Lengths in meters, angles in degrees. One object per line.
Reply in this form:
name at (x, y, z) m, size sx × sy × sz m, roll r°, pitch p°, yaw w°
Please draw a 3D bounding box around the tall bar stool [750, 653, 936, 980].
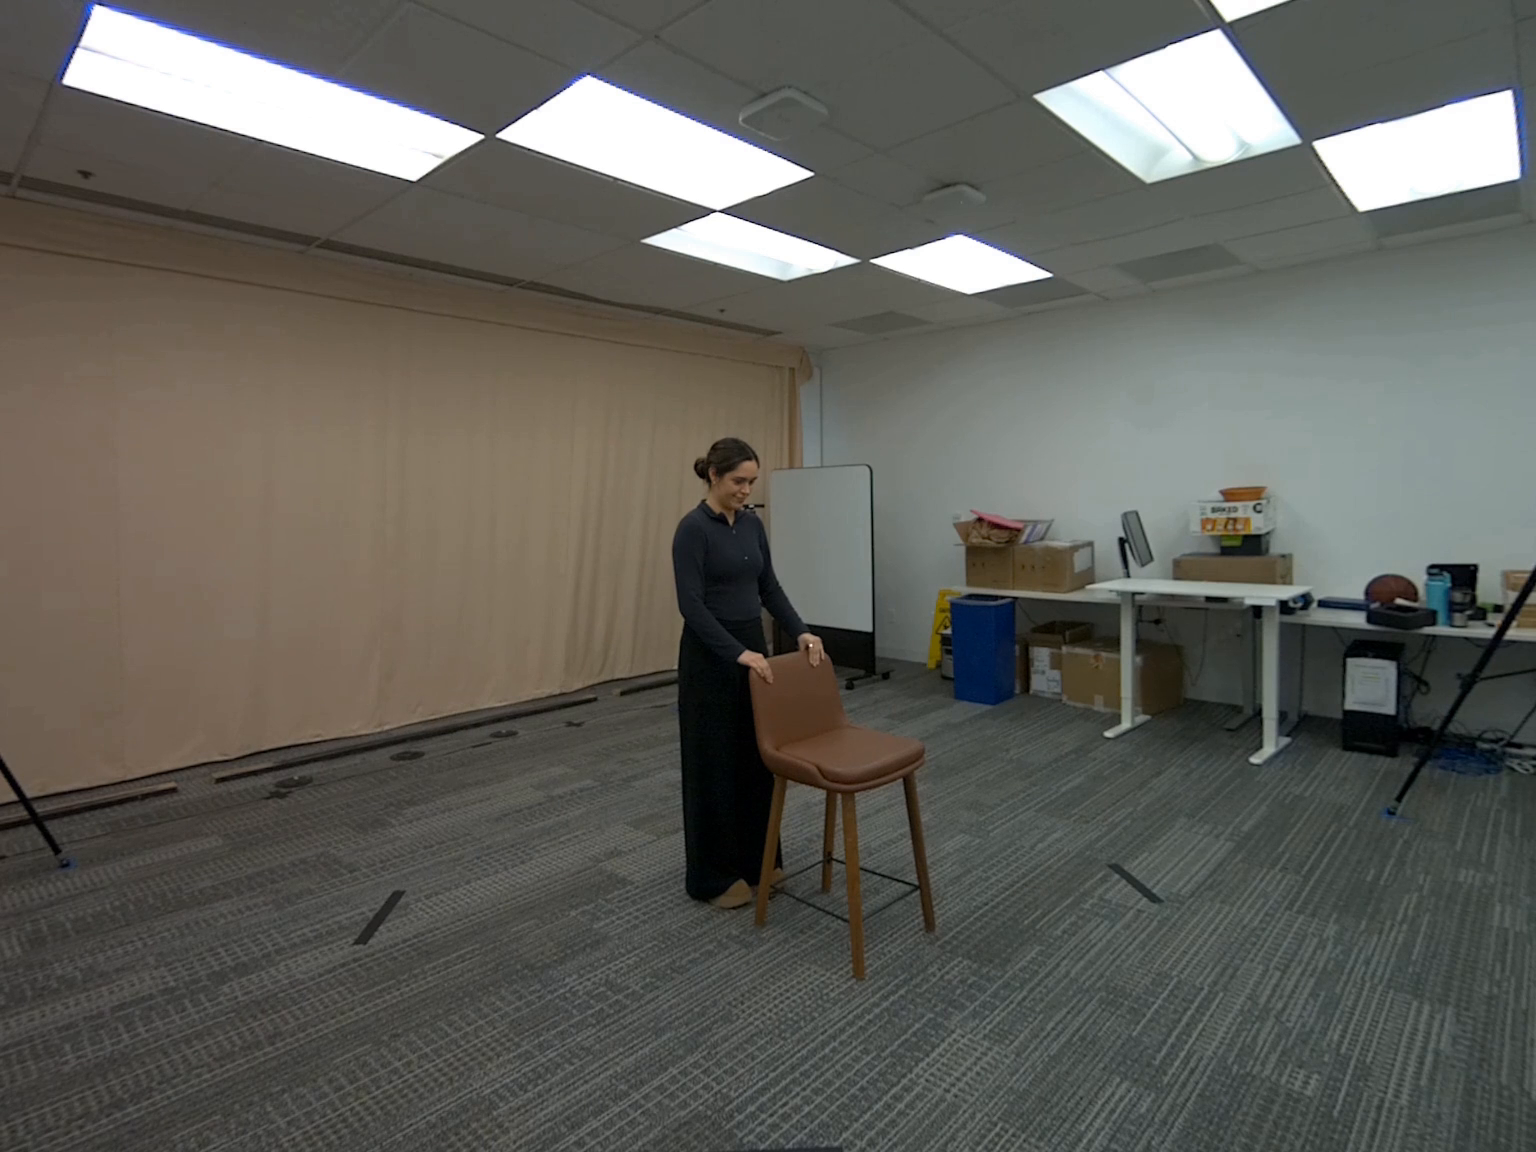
tall bar stool at (0.233, 0.718, 2.736) m, size 0.442 × 0.889 × 0.482 m, roll -4°, pitch 2°, yaw -44°
